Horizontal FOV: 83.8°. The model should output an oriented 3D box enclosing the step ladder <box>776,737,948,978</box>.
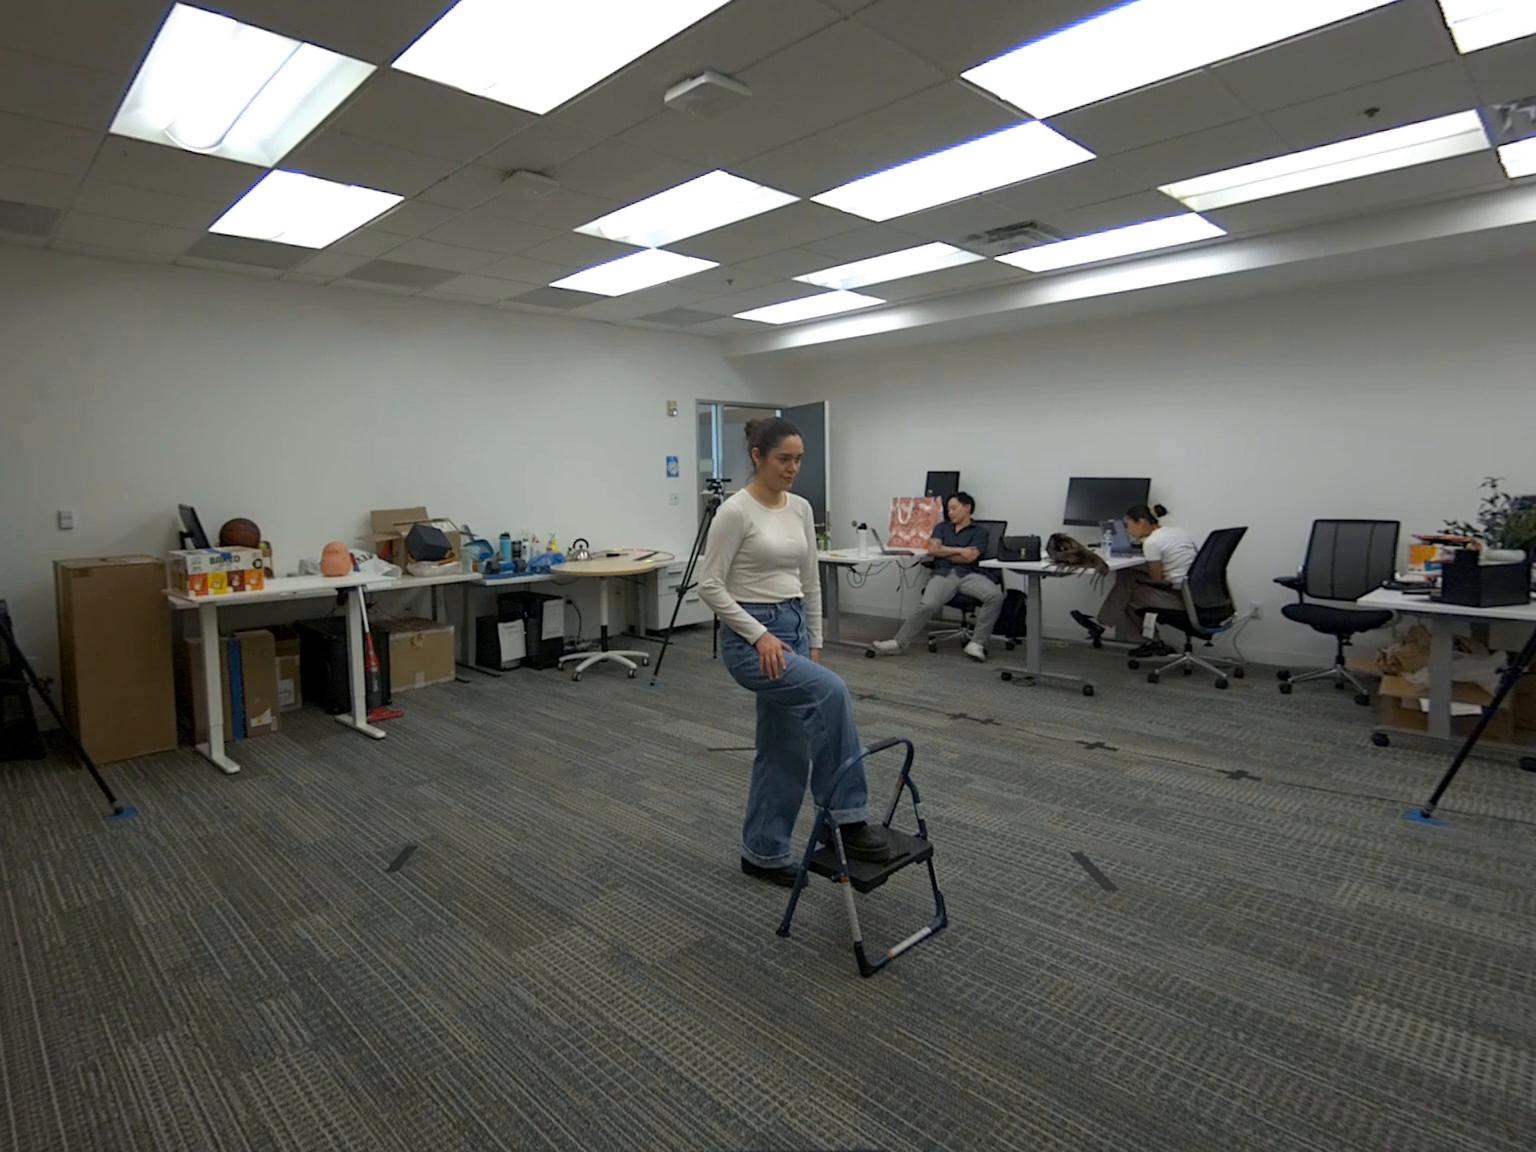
[{"bbox_3d":[0.294,0.793,2.622,0.360,0.604,0.419,3,6,45],"label":"step ladder"}]
